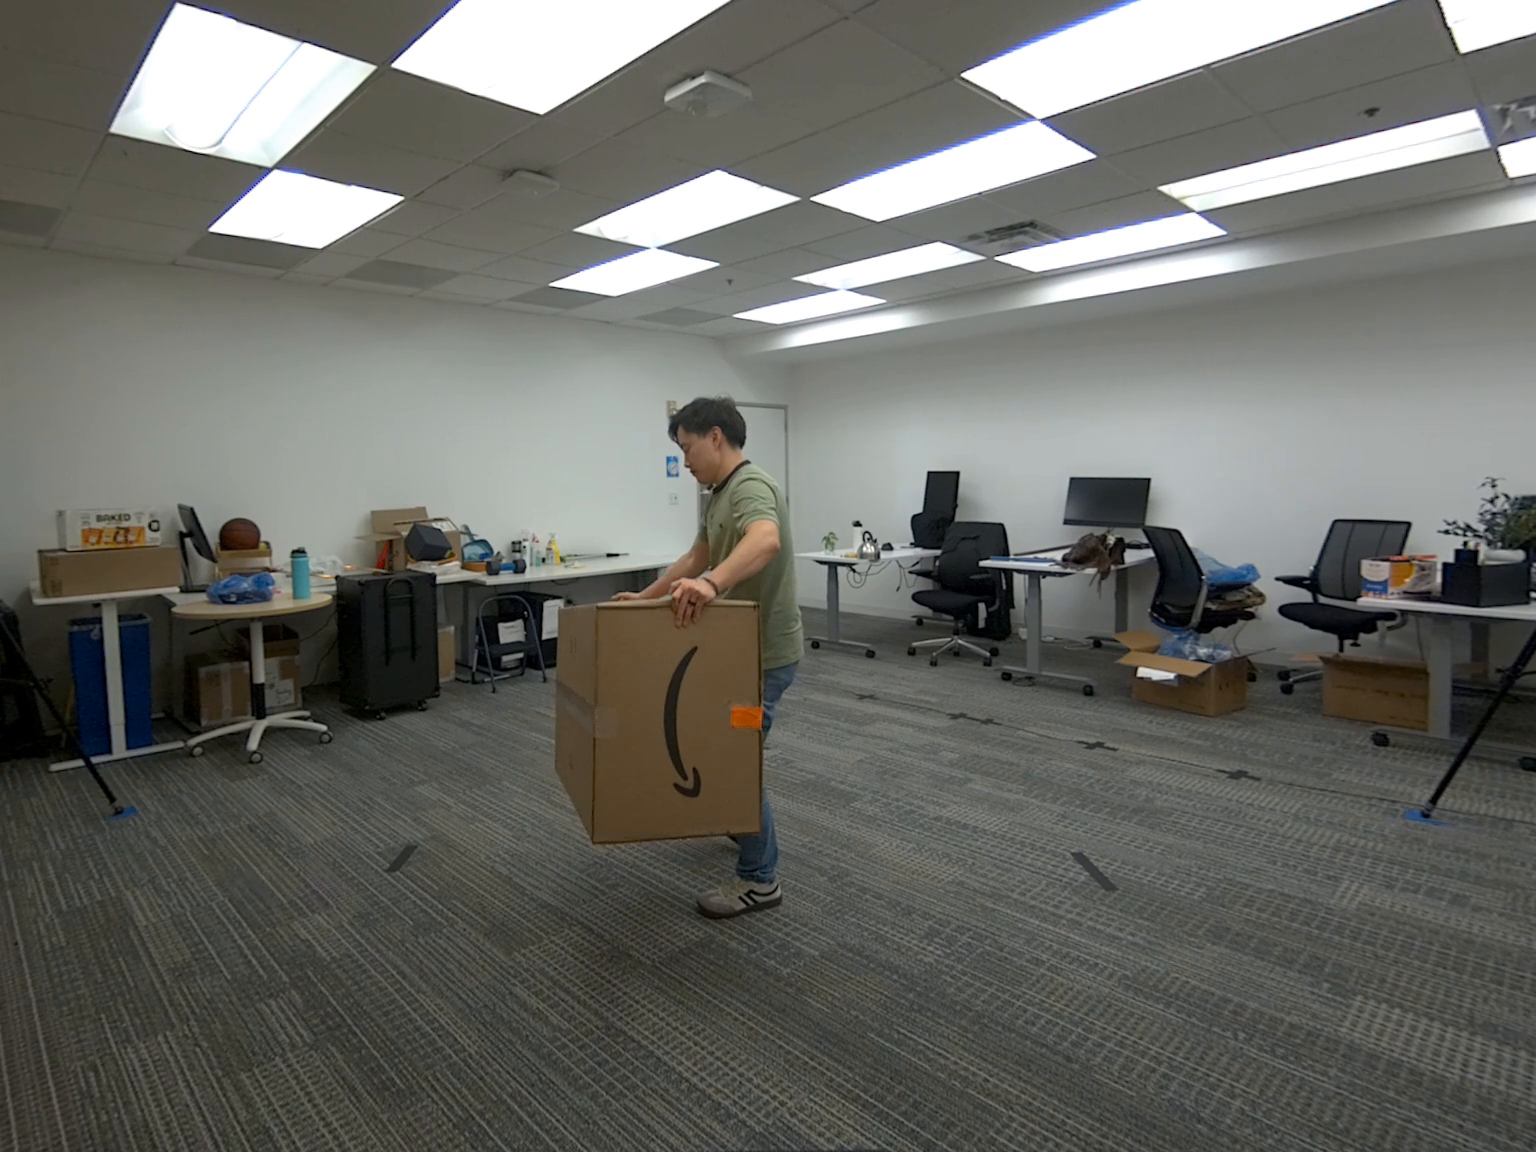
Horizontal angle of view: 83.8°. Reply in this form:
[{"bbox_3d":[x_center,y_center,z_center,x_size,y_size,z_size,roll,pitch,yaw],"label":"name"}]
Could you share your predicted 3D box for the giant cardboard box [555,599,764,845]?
[{"bbox_3d":[-0.389,0.376,2.598,0.419,0.580,1.038,1,-3,-18],"label":"giant cardboard box"}]
